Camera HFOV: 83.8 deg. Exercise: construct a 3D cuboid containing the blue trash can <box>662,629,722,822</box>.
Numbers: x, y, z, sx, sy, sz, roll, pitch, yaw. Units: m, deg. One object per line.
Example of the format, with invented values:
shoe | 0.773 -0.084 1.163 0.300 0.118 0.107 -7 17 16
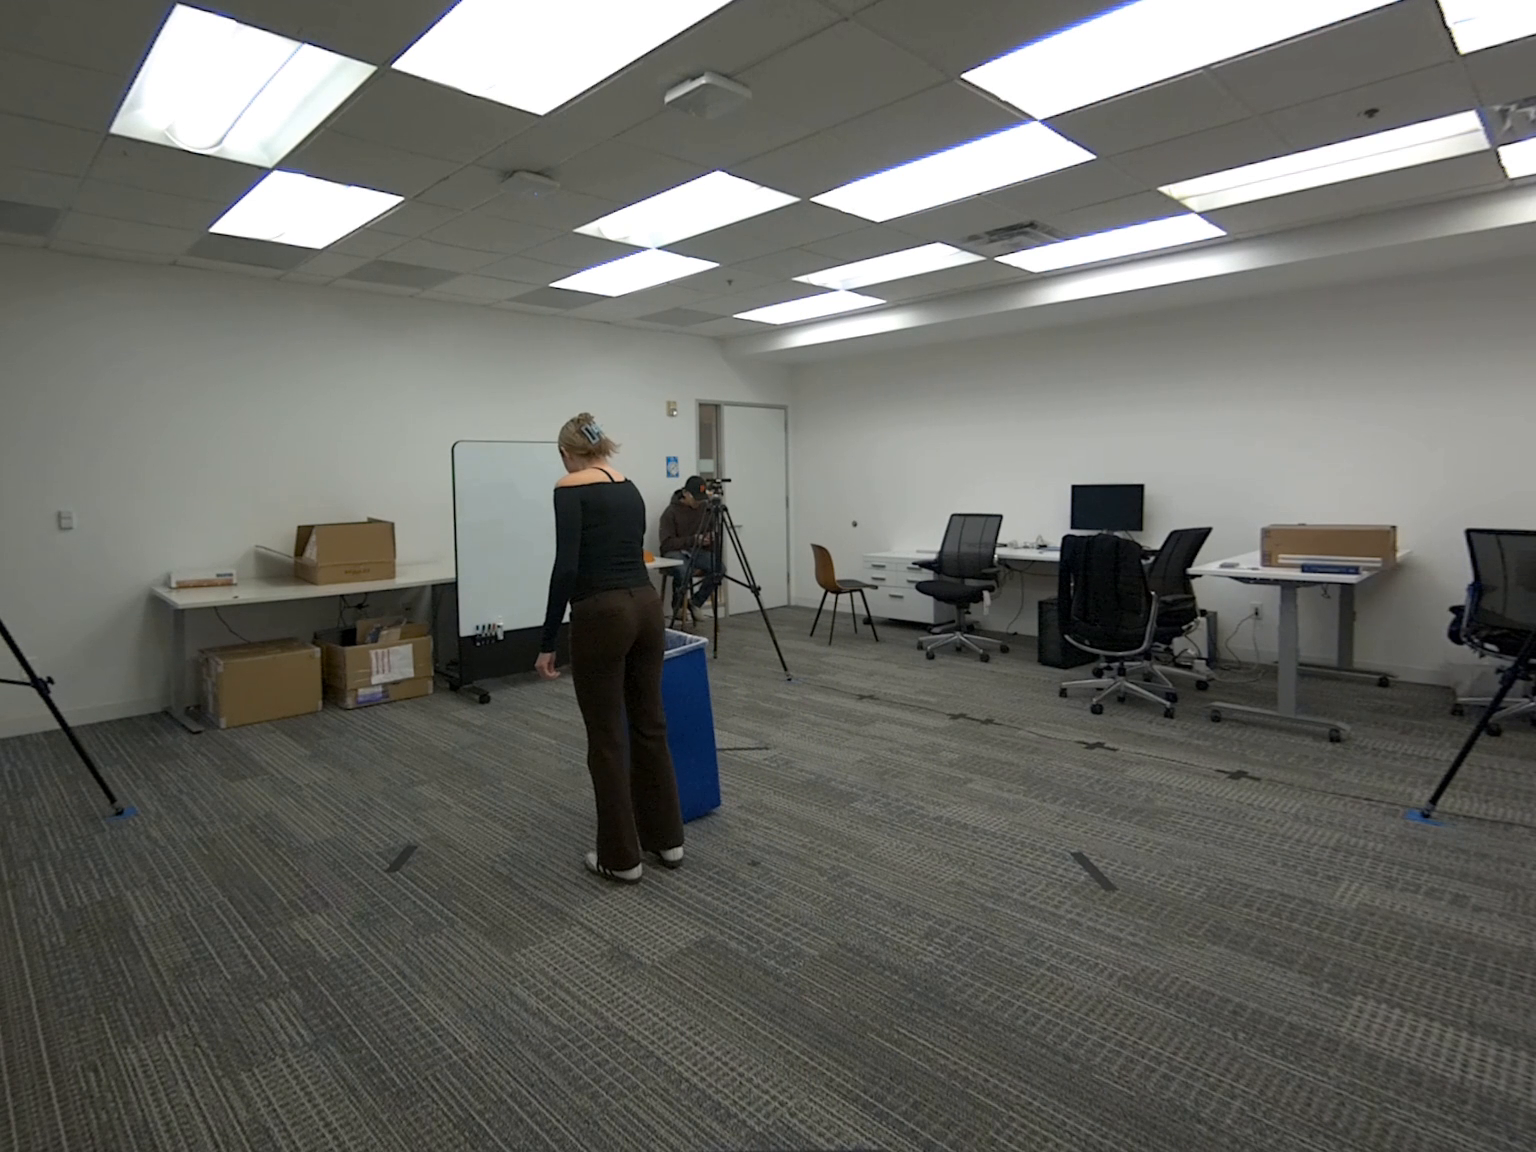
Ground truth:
blue trash can | -0.442 0.628 3.554 0.366 0.708 0.389 -13 10 -37
